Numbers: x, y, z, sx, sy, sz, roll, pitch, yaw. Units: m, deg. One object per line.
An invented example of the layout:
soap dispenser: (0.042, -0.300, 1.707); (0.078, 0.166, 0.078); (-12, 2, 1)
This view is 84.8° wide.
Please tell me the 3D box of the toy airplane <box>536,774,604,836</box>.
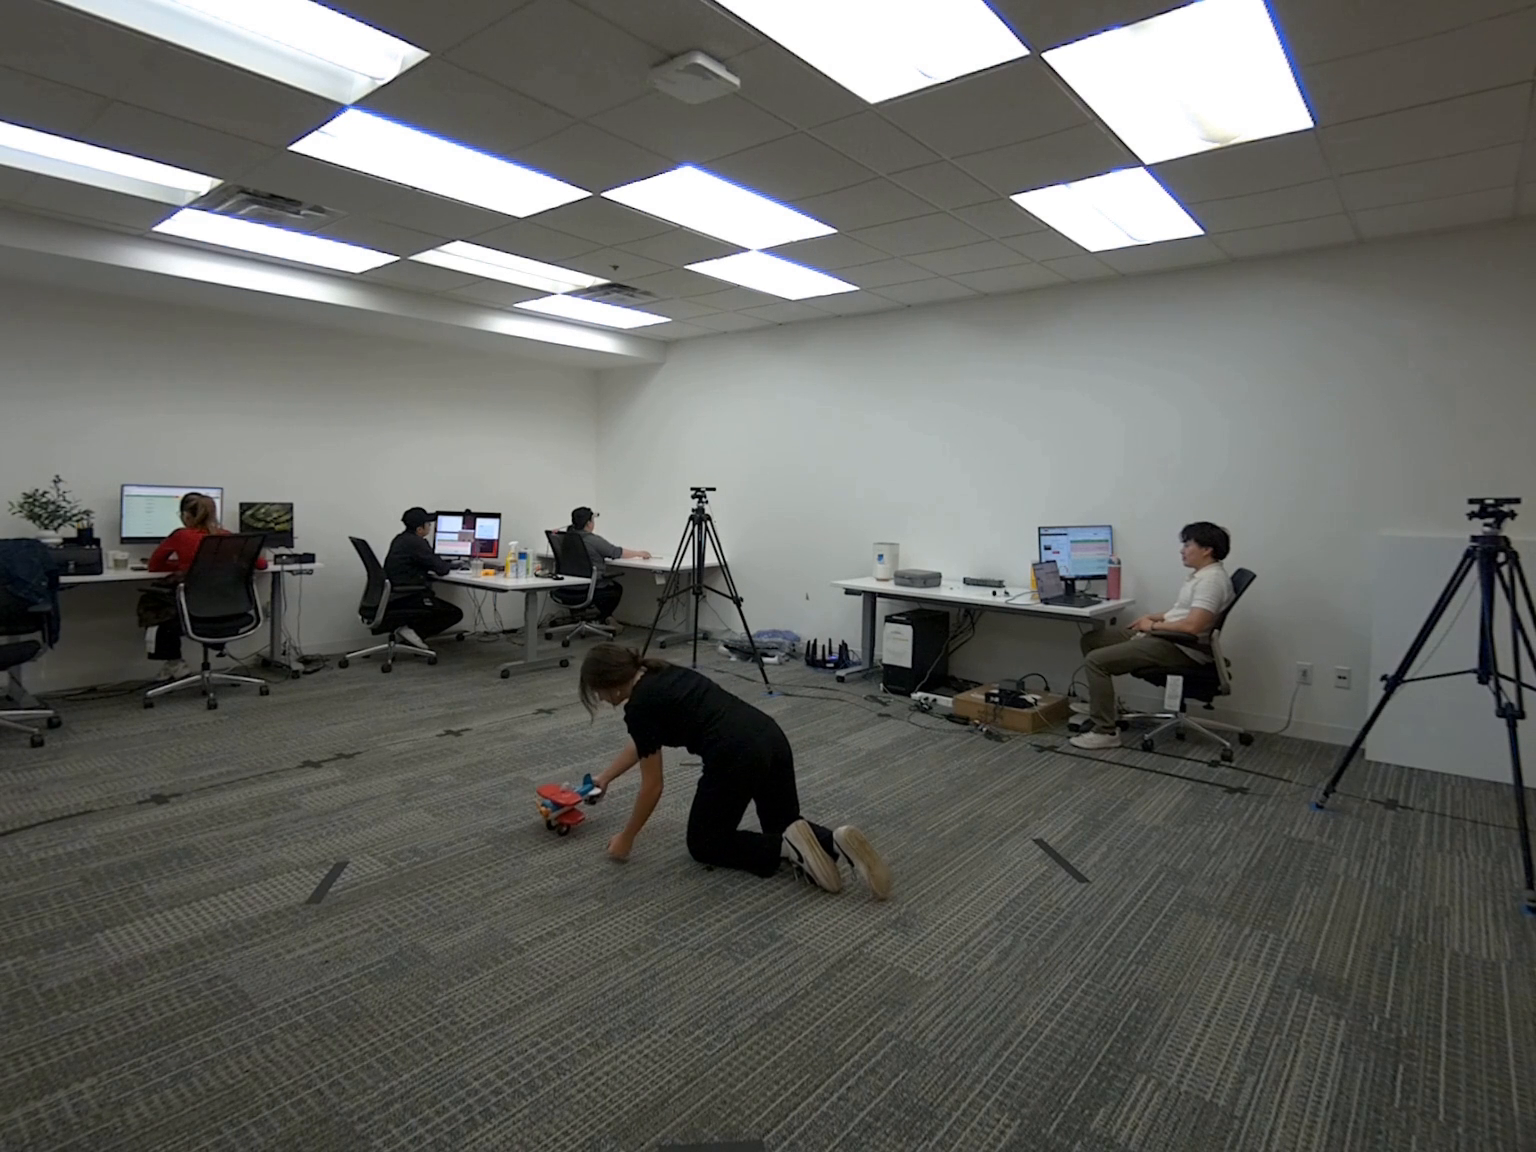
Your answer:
toy airplane: (-0.841, 0.919, 3.464); (0.255, 0.152, 0.262); (-11, 23, 17)
